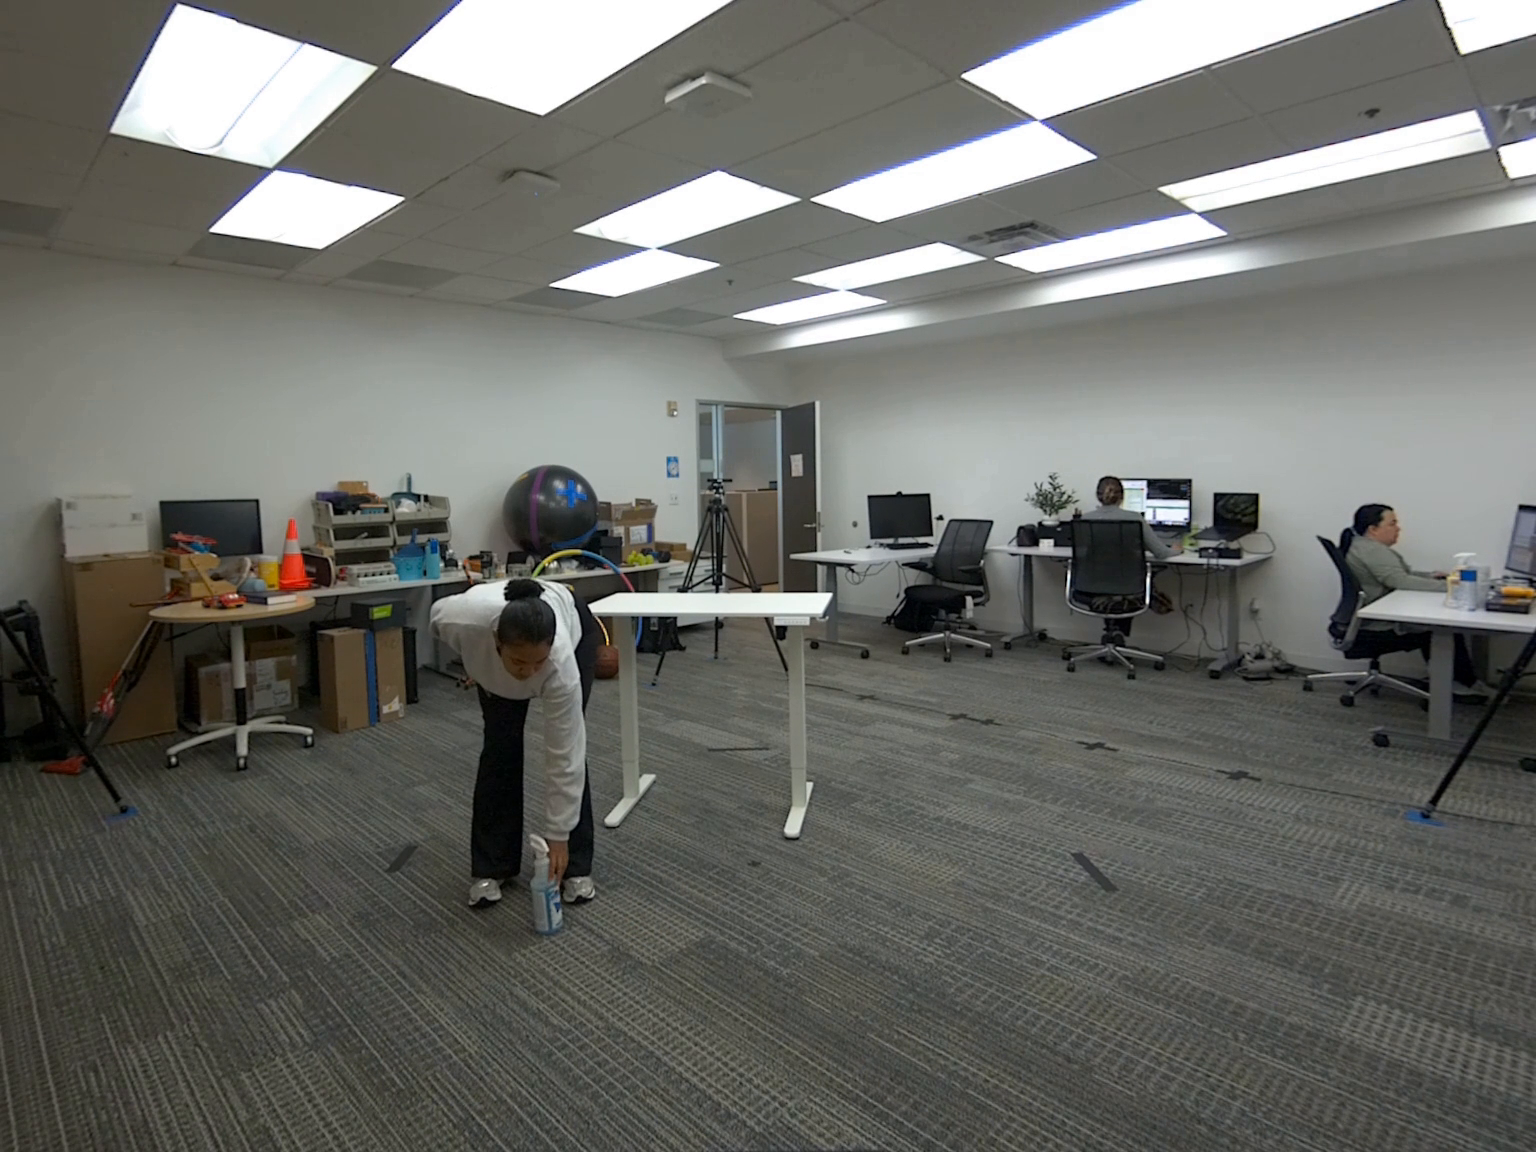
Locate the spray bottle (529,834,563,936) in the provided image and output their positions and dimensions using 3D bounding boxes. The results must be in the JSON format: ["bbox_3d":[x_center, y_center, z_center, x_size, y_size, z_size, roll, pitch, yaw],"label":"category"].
[{"bbox_3d":[-0.700,0.966,2.674,0.085,0.296,0.092,-7,5,-21],"label":"spray bottle"}]
